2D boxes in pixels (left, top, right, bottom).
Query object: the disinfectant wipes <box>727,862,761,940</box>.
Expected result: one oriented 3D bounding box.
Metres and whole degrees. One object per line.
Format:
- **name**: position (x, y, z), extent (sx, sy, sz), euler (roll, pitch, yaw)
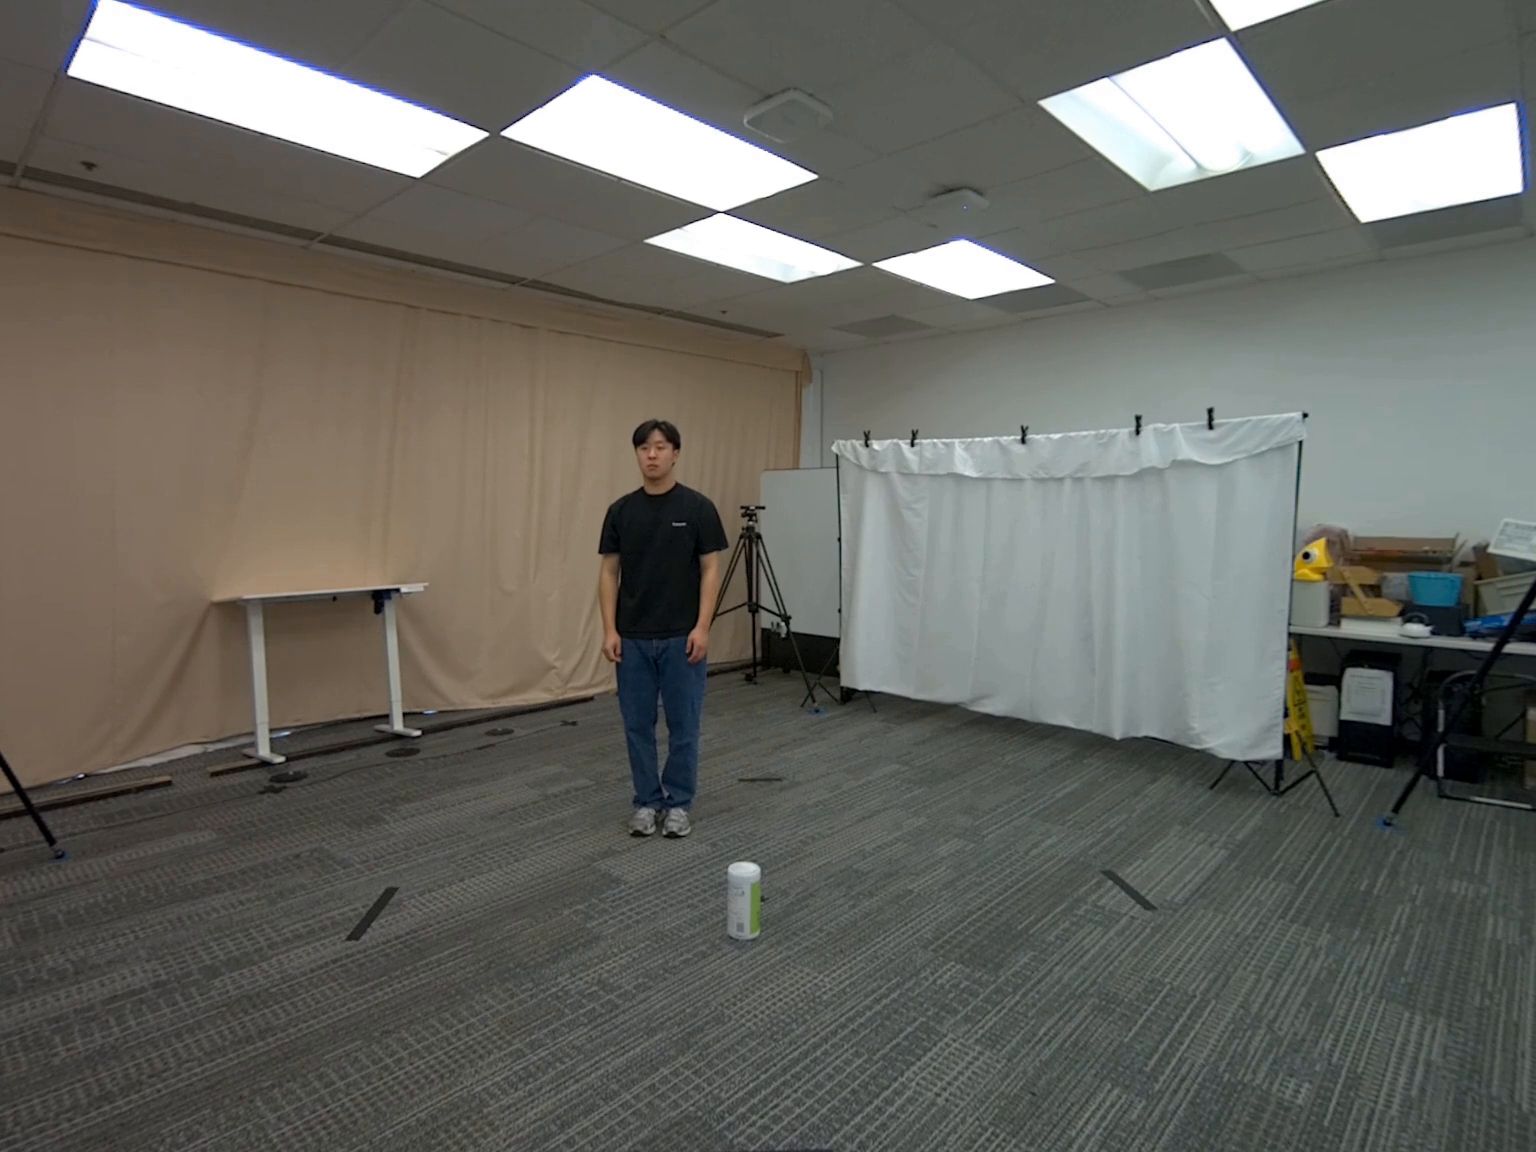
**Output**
- **disinfectant wipes**: position (-0.076, 1.056, 2.734), extent (0.117, 0.217, 0.118), euler (3, 2, -2)
